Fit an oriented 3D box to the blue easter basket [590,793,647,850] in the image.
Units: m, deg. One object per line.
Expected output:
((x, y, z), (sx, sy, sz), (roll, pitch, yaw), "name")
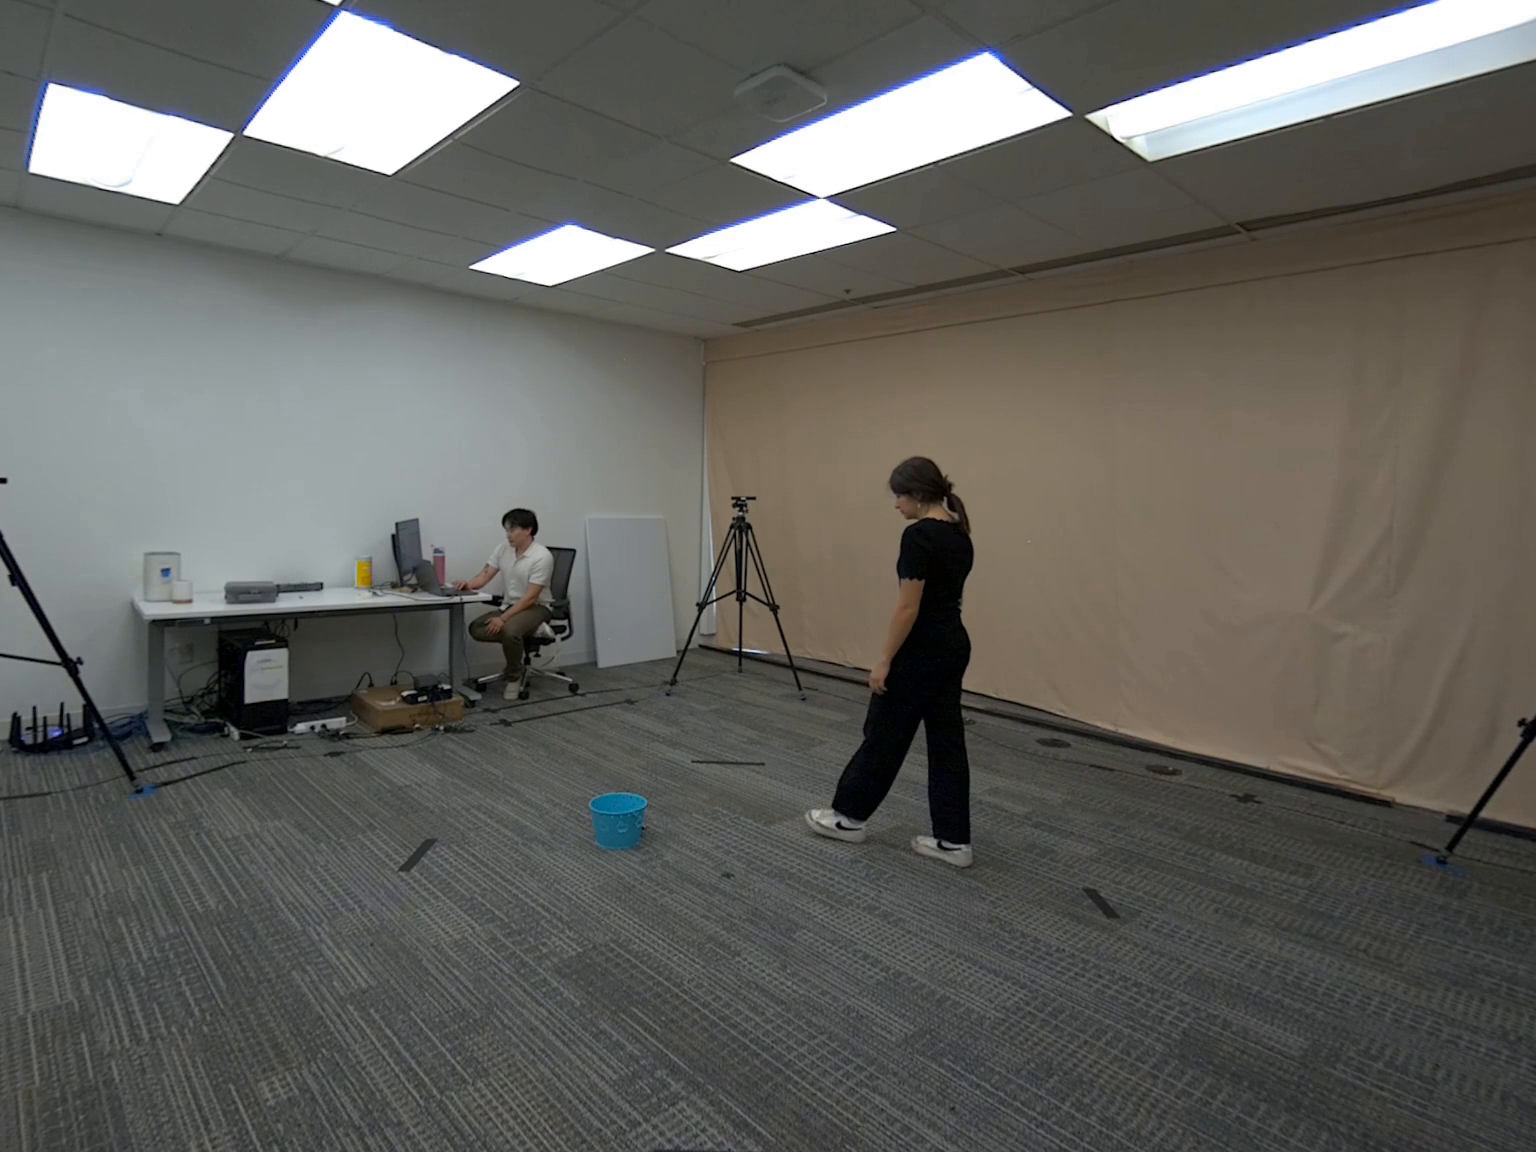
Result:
((-0.607, 0.988, 3.399), (0.243, 0.155, 0.244), (1, 5, -1), "blue easter basket")
